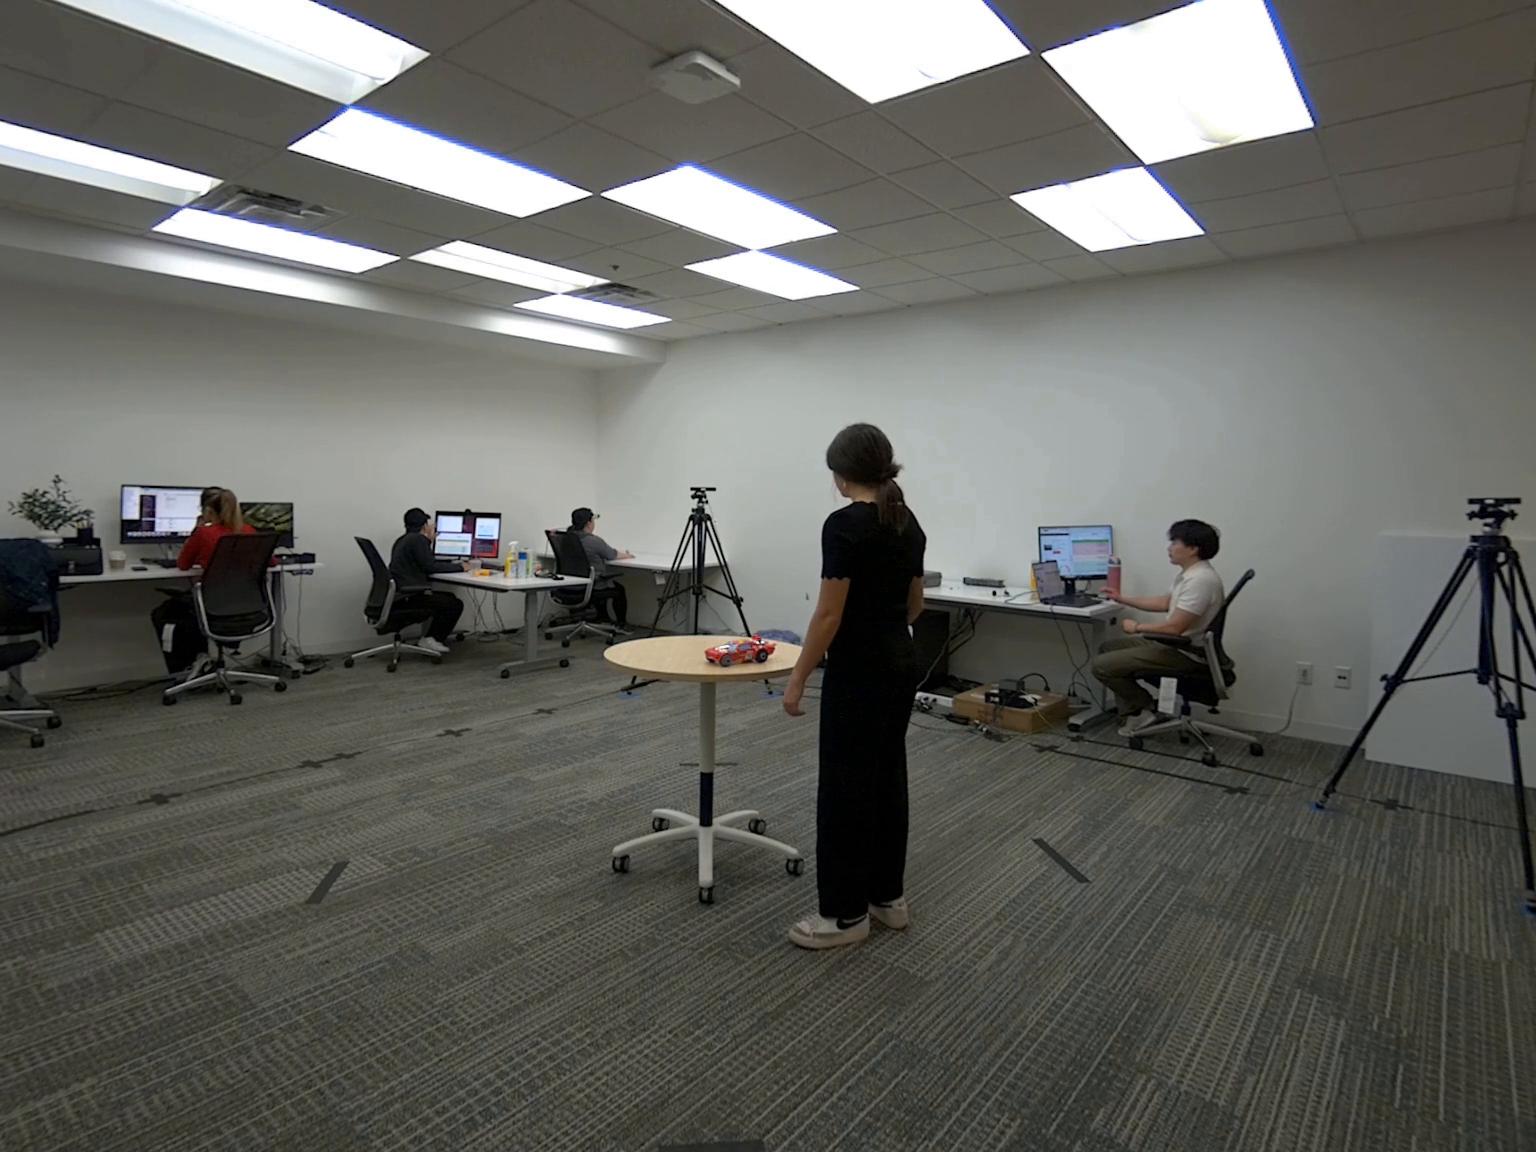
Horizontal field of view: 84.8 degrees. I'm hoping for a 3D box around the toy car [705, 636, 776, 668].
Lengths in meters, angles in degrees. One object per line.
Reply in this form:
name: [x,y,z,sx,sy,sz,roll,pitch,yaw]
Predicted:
toy car: [-0.096,0.263,2.970,0.249,0.082,0.134,-16,12,-29]
